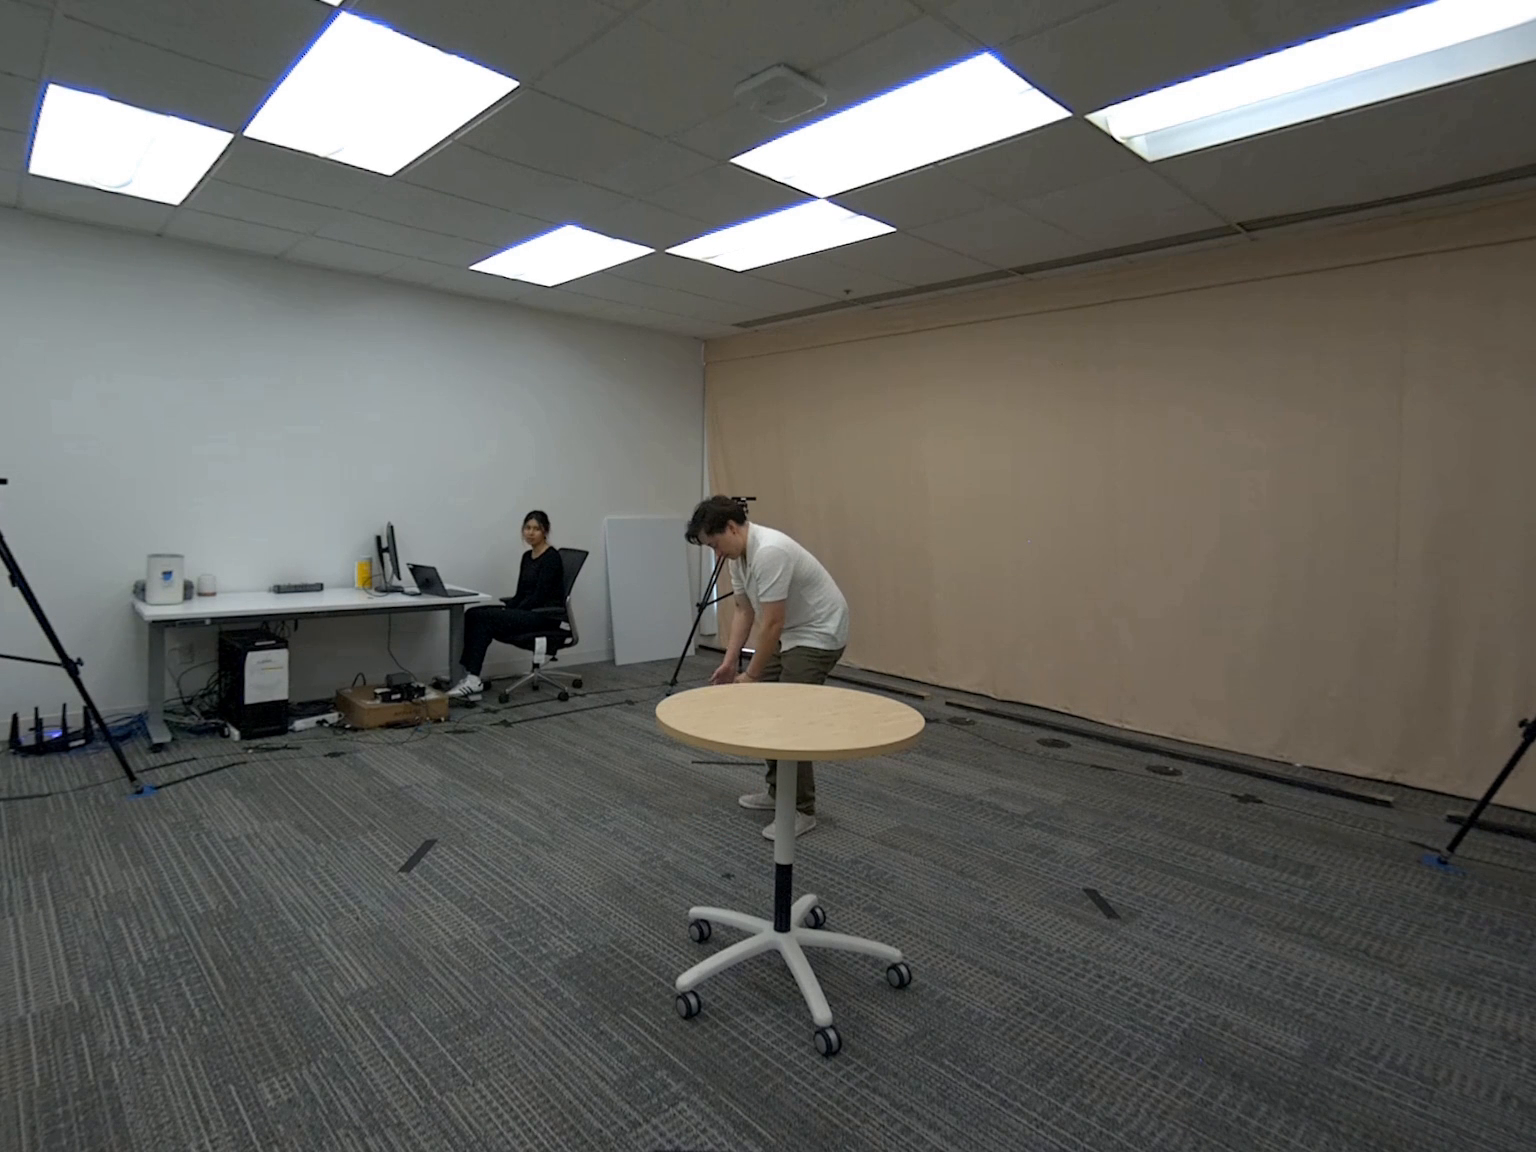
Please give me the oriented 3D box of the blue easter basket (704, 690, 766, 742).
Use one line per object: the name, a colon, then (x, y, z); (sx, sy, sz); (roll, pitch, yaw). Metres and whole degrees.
blue easter basket: (-0.145, 0.589, 3.606); (0.243, 0.156, 0.244); (3, 1, -1)
